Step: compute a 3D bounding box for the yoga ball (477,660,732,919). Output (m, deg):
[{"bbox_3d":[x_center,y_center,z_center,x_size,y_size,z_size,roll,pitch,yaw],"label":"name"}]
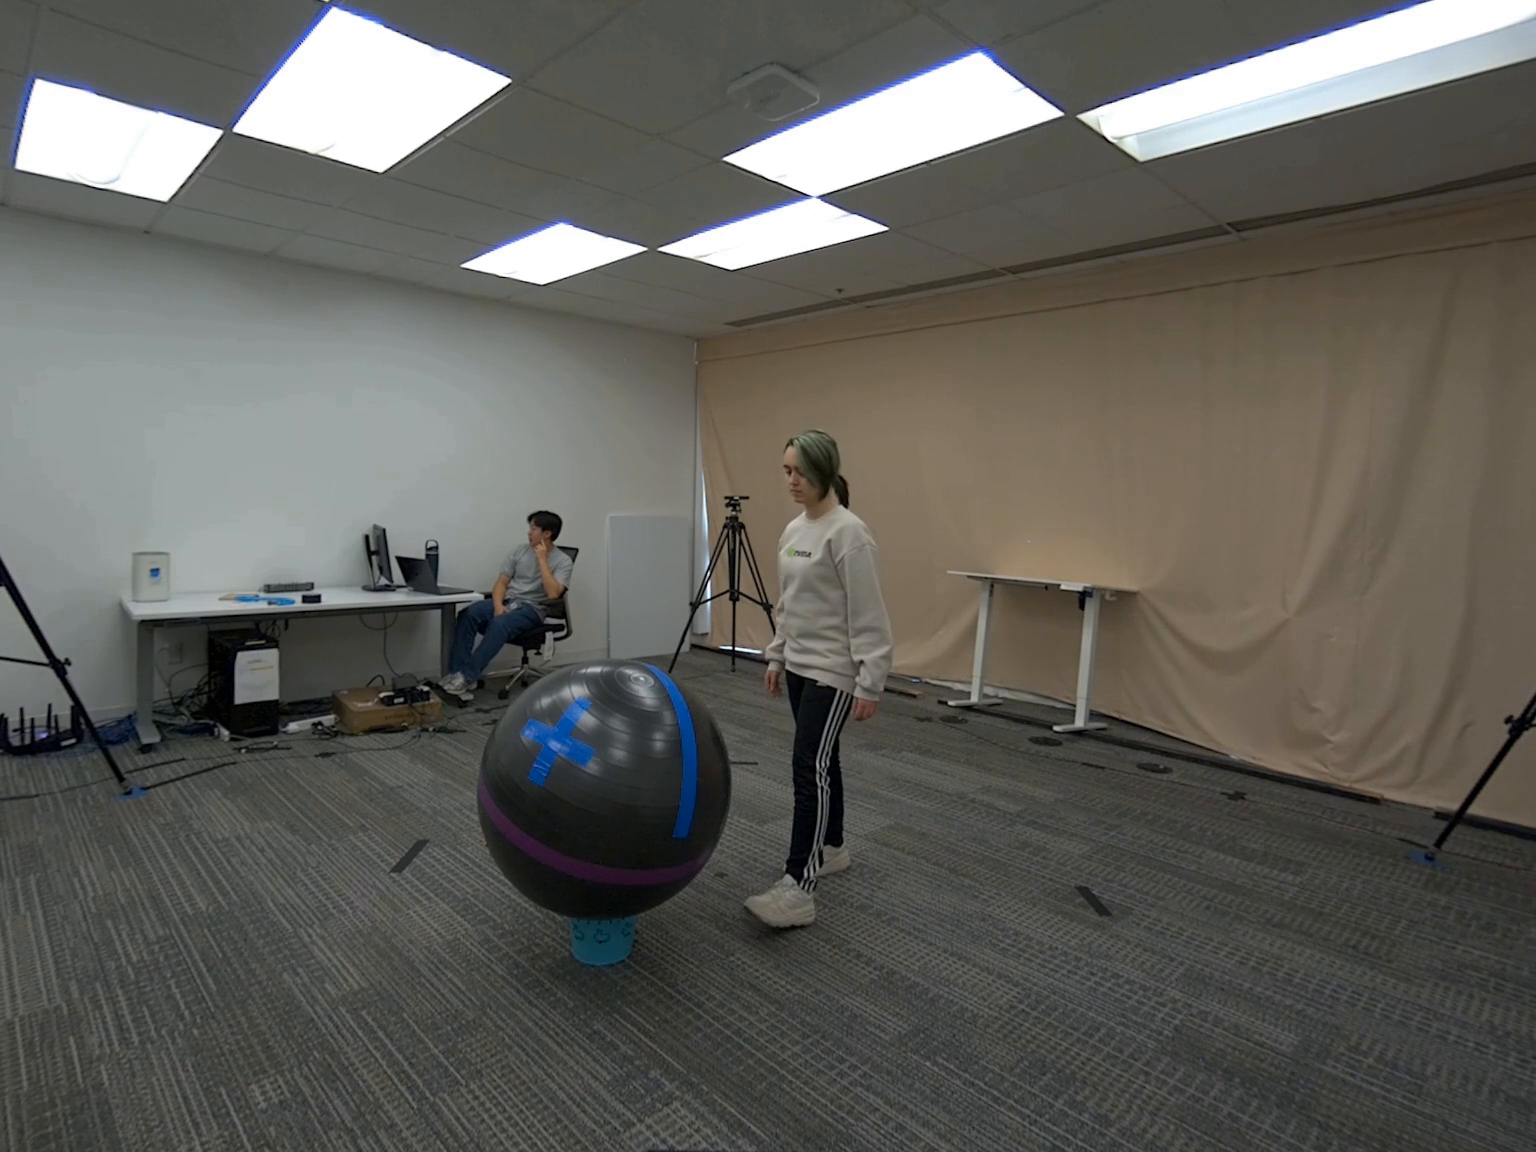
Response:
[{"bbox_3d":[-0.496,0.635,2.549,0.757,0.756,0.761,1,4,-1],"label":"yoga ball"}]
